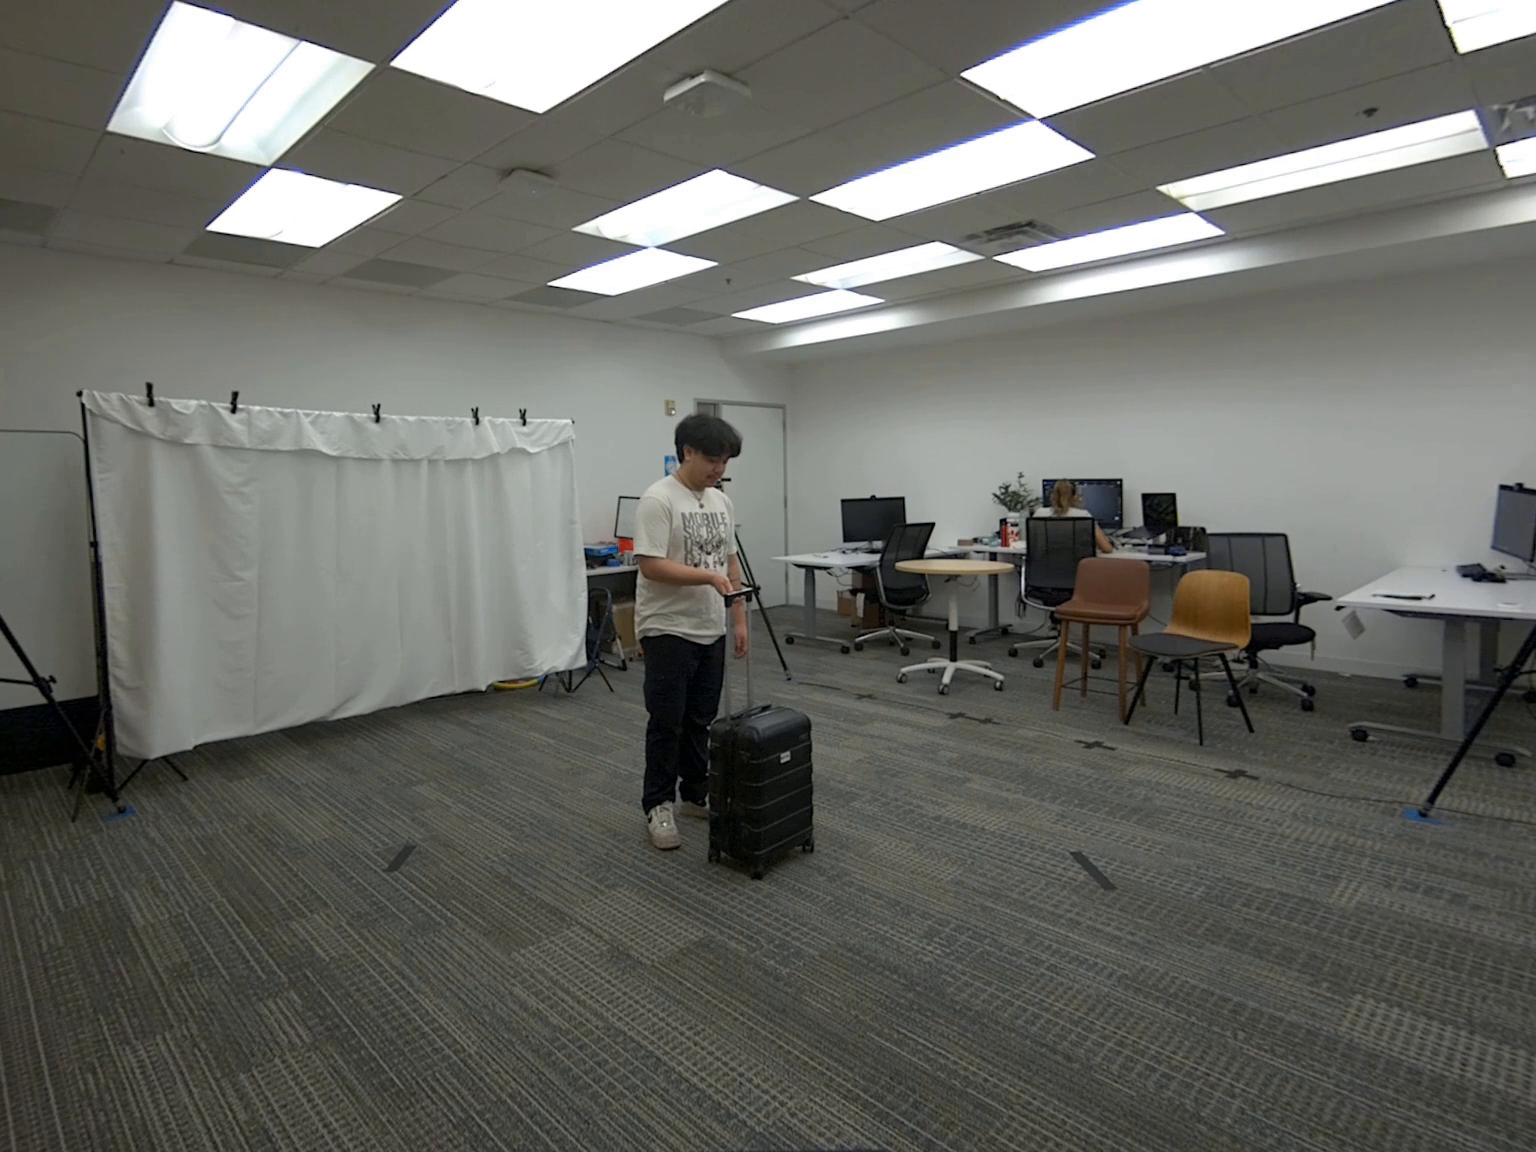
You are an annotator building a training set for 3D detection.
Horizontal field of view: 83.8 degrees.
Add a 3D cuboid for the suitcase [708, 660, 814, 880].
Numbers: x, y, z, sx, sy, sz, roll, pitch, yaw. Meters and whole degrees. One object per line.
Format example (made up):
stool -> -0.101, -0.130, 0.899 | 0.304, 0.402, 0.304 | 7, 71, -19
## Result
suitcase -> -0.013, 0.567, 3.105 | 0.265, 0.973, 0.374 | 7, 9, 40
